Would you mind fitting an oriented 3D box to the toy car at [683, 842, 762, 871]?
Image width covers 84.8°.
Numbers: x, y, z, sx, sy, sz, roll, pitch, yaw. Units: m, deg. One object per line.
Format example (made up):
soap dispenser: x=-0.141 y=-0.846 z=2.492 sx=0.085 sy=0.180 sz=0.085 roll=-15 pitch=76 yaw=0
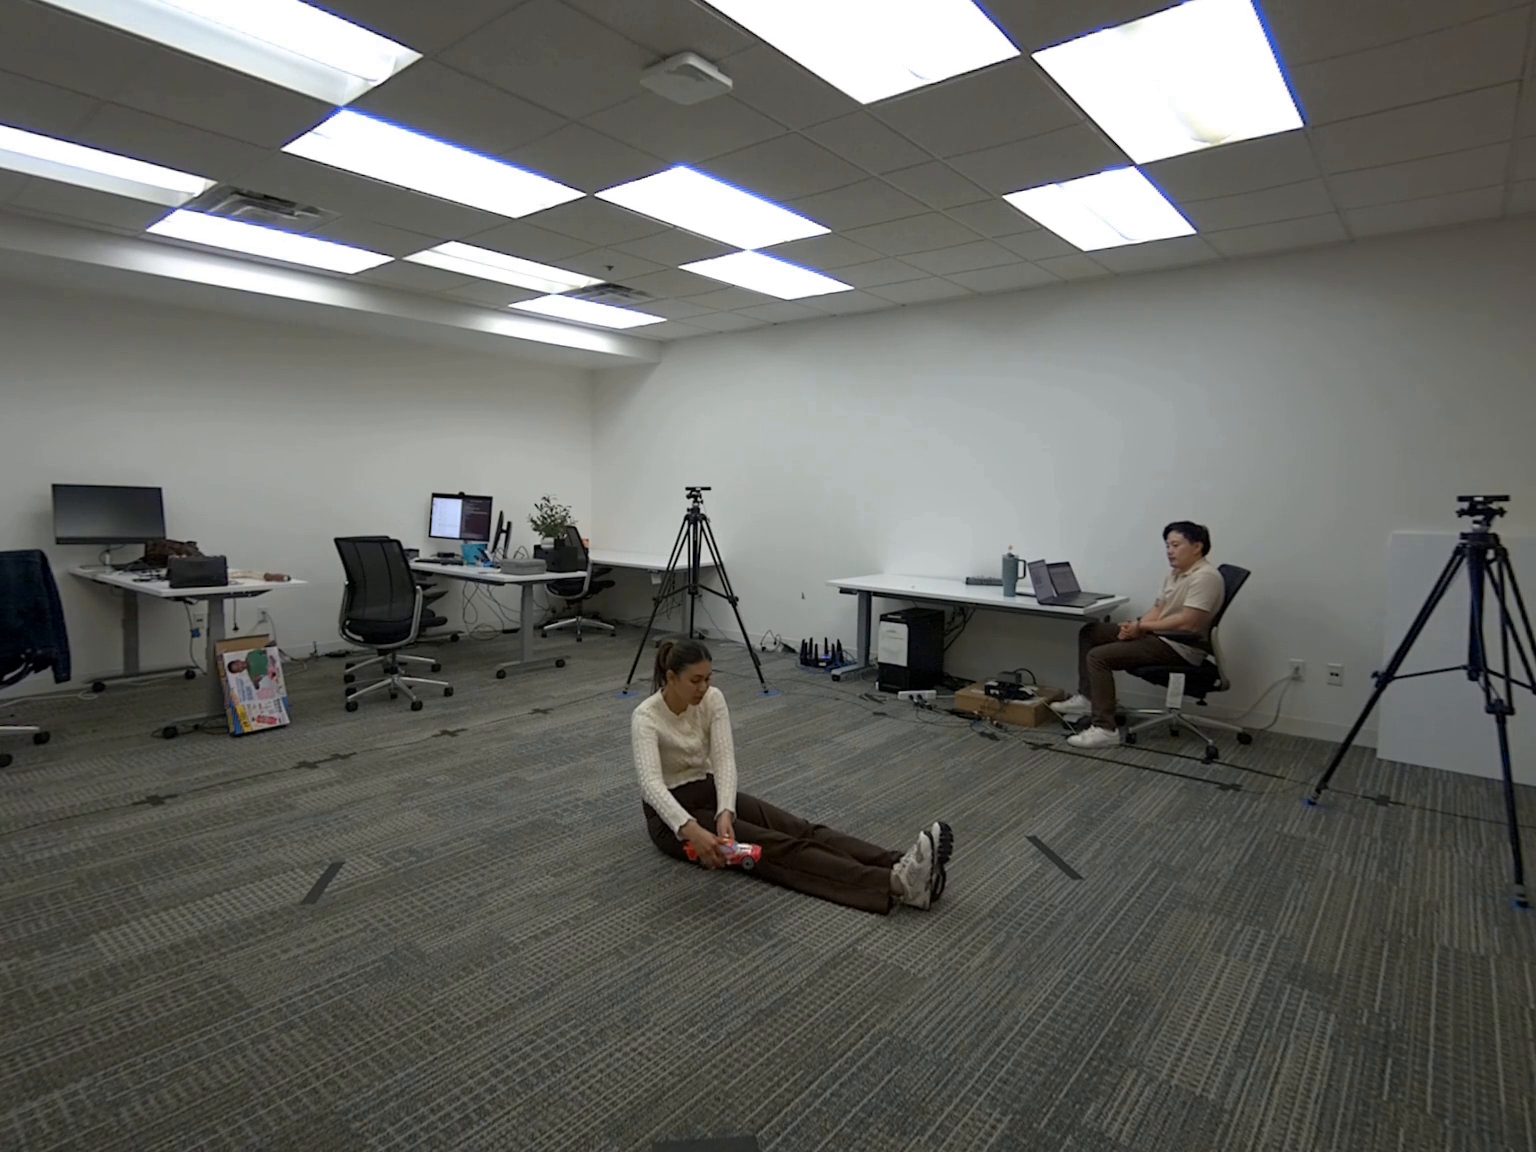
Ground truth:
toy car: x=-0.152 y=0.919 z=2.830 sx=0.258 sy=0.083 sz=0.129 roll=9 pitch=1 yaw=10
